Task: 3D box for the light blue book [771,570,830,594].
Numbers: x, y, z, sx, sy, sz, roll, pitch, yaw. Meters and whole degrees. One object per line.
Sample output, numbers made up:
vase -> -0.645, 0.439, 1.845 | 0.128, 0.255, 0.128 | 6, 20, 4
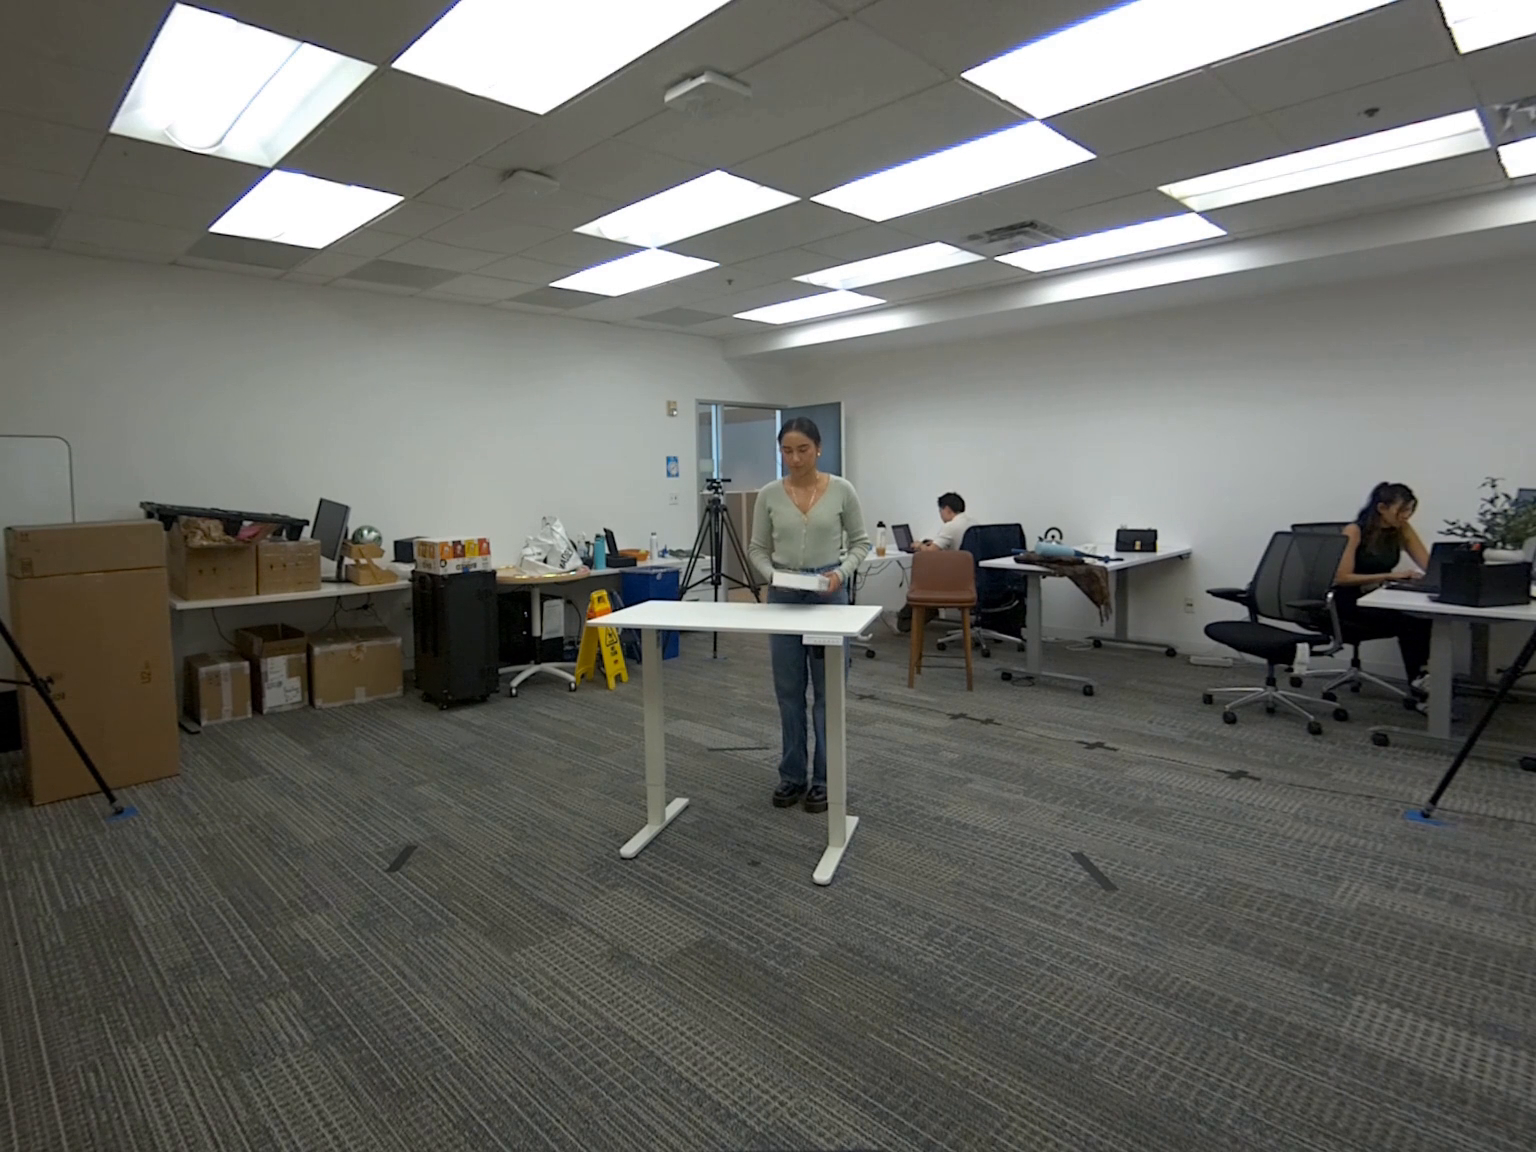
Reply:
light blue book -> 0.137, 0.012, 3.411 | 0.193, 0.059, 0.258 | 7, -1, 9
